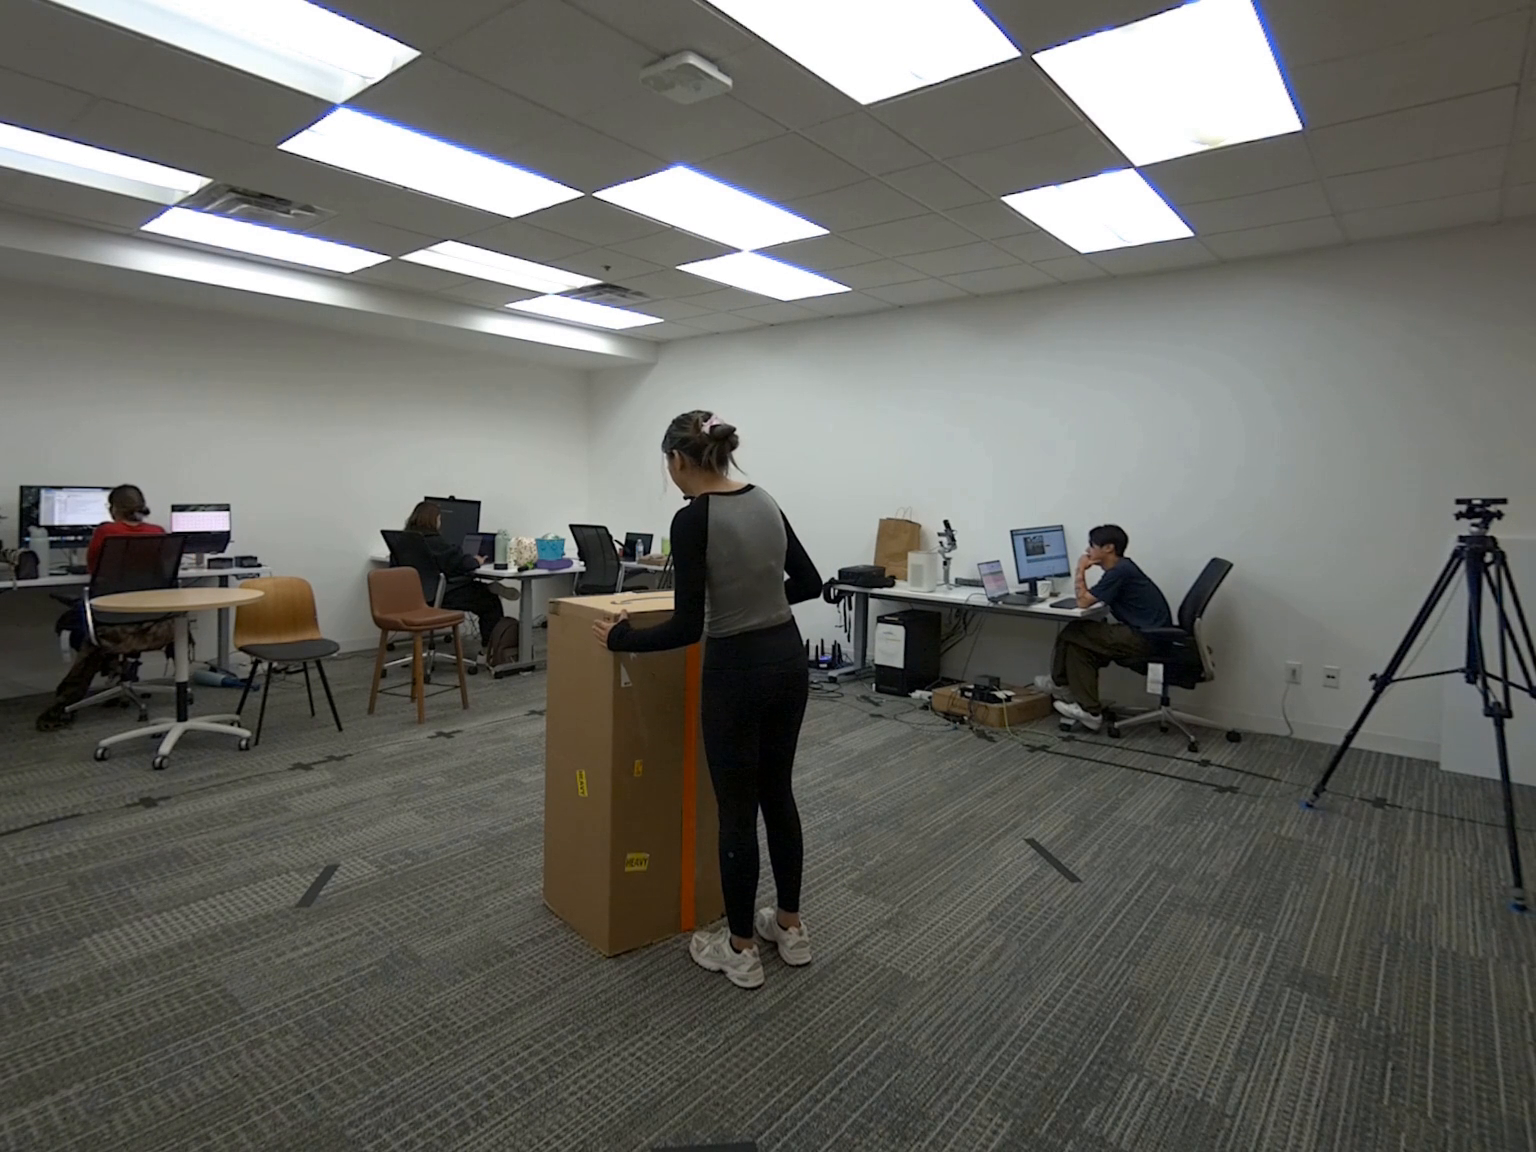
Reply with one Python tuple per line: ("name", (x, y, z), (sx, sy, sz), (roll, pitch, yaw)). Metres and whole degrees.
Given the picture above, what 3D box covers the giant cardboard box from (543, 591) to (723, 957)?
("giant cardboard box", (-0.392, 0.589, 2.818), (0.566, 1.025, 0.462), (-1, 3, -41))
